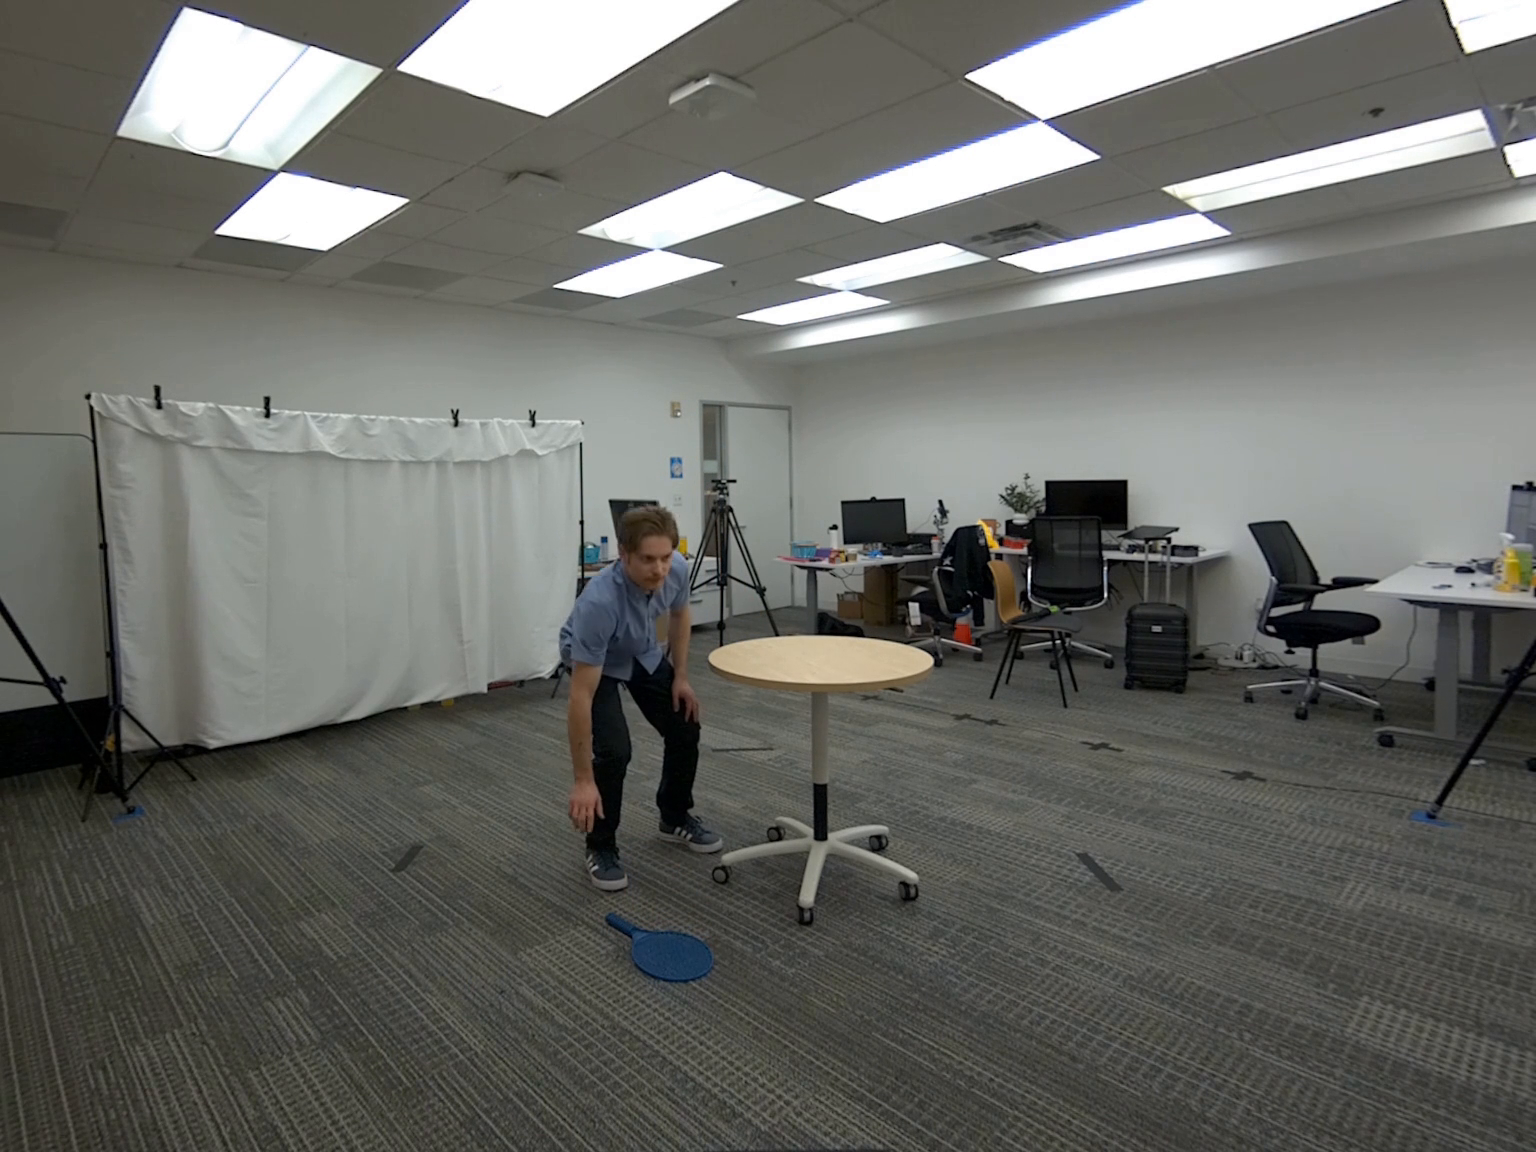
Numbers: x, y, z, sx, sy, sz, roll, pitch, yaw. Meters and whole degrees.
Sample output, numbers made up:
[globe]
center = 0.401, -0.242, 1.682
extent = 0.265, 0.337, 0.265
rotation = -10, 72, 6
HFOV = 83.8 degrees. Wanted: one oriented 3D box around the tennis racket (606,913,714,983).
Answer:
[tennis racket]
center = -0.336, 1.105, 2.562
extent = 0.446, 0.031, 0.208
rotation = 6, 10, 41
